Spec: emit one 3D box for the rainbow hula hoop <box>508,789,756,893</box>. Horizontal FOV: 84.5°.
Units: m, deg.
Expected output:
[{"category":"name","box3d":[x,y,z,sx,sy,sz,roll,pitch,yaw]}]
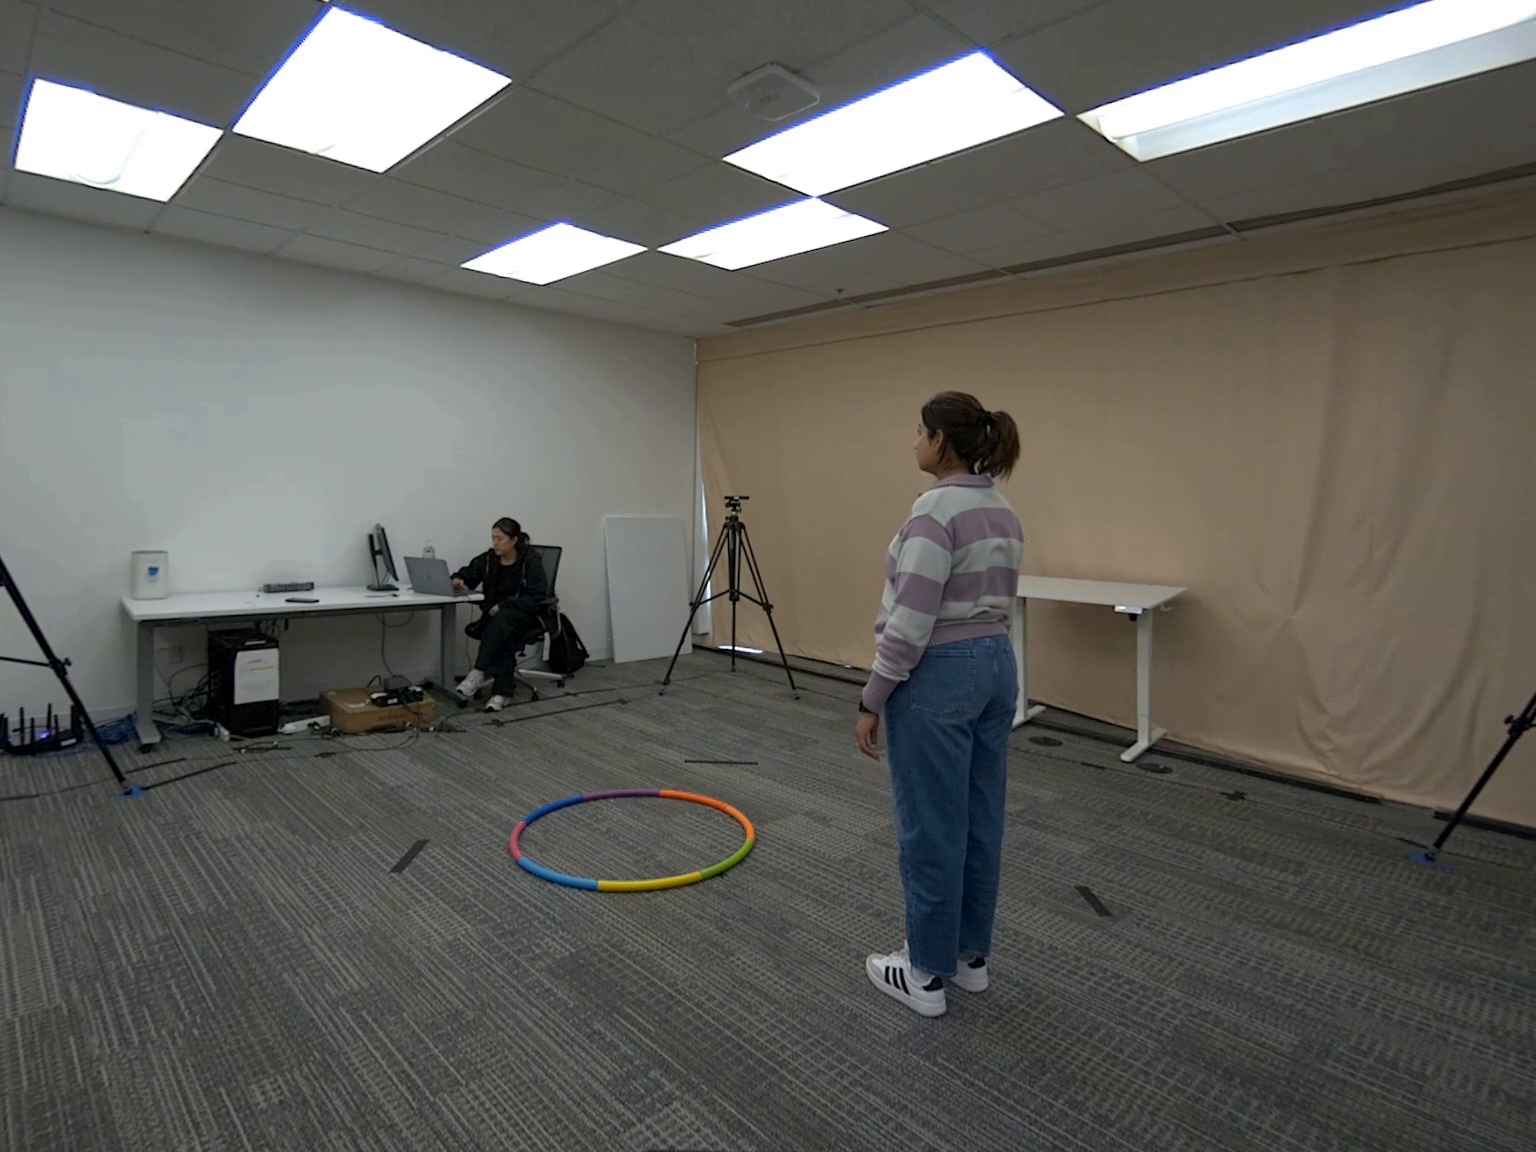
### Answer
[{"category":"rainbow hula hoop","box3d":[-0.546,1.036,3.428,0.978,0.035,0.982,2,5,-1]}]
